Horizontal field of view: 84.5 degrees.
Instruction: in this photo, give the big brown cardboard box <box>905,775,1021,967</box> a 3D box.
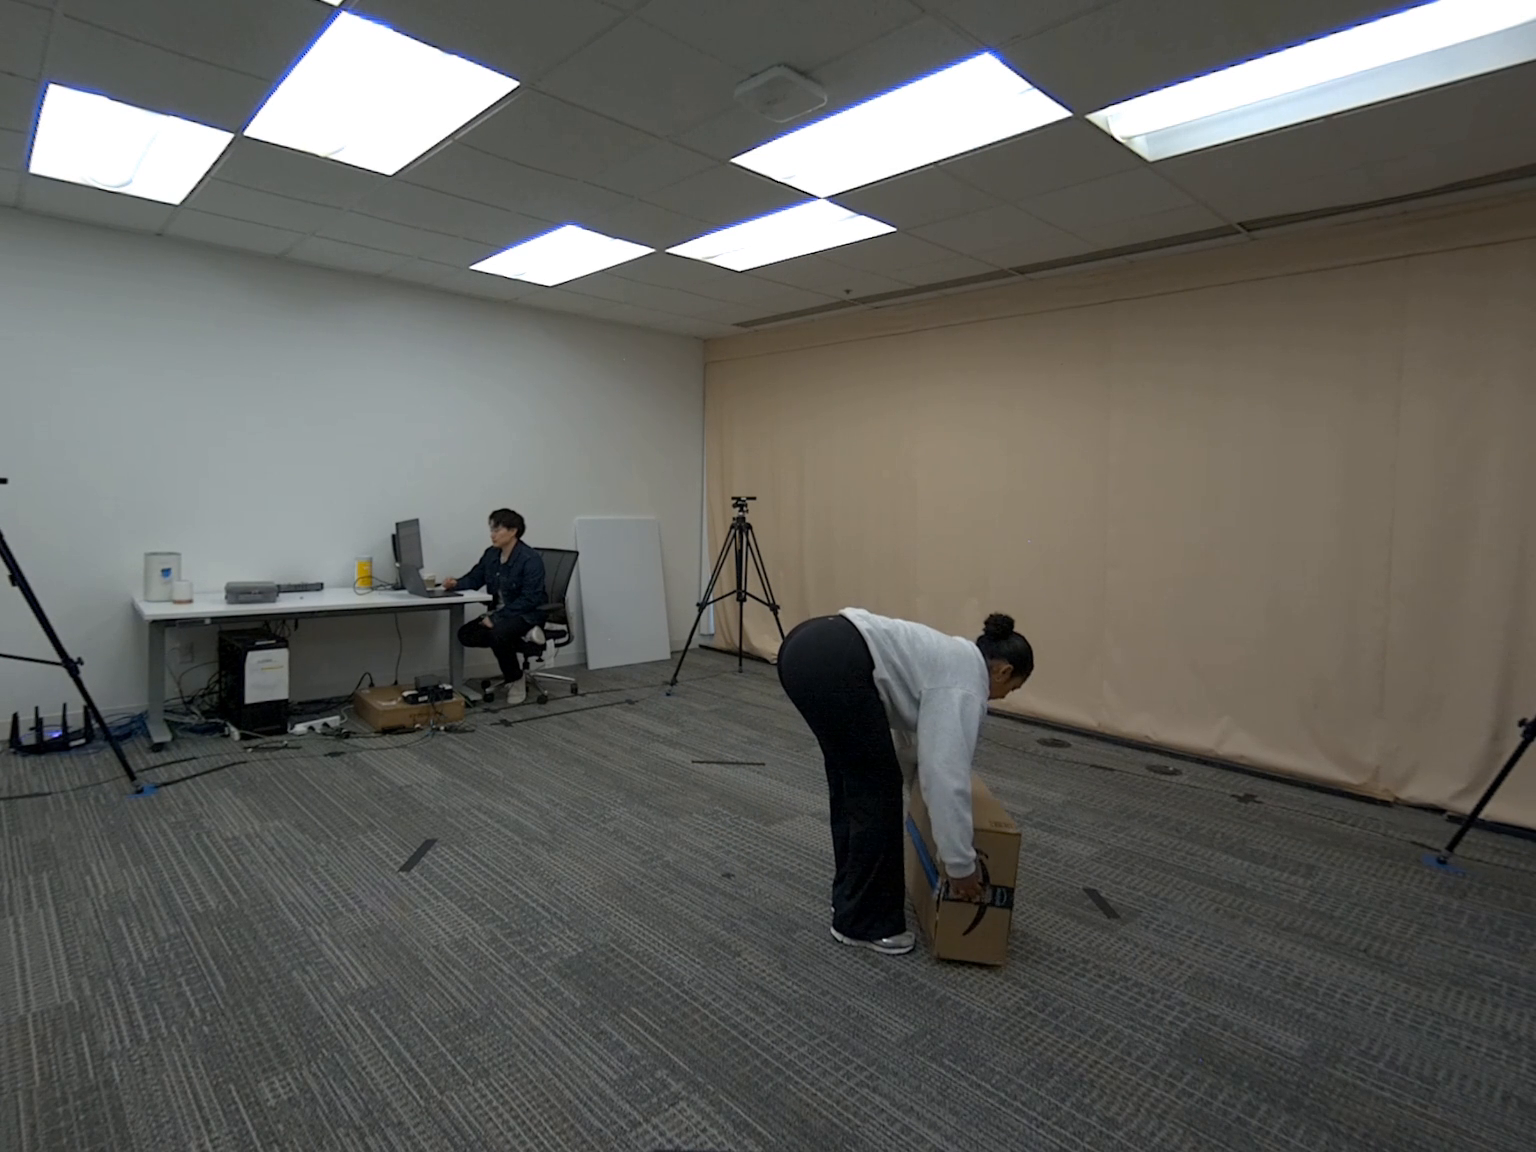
[{"bbox_3d":[0.619,0.898,2.778,0.234,0.417,0.588,5,3,3],"label":"big brown cardboard box"}]
